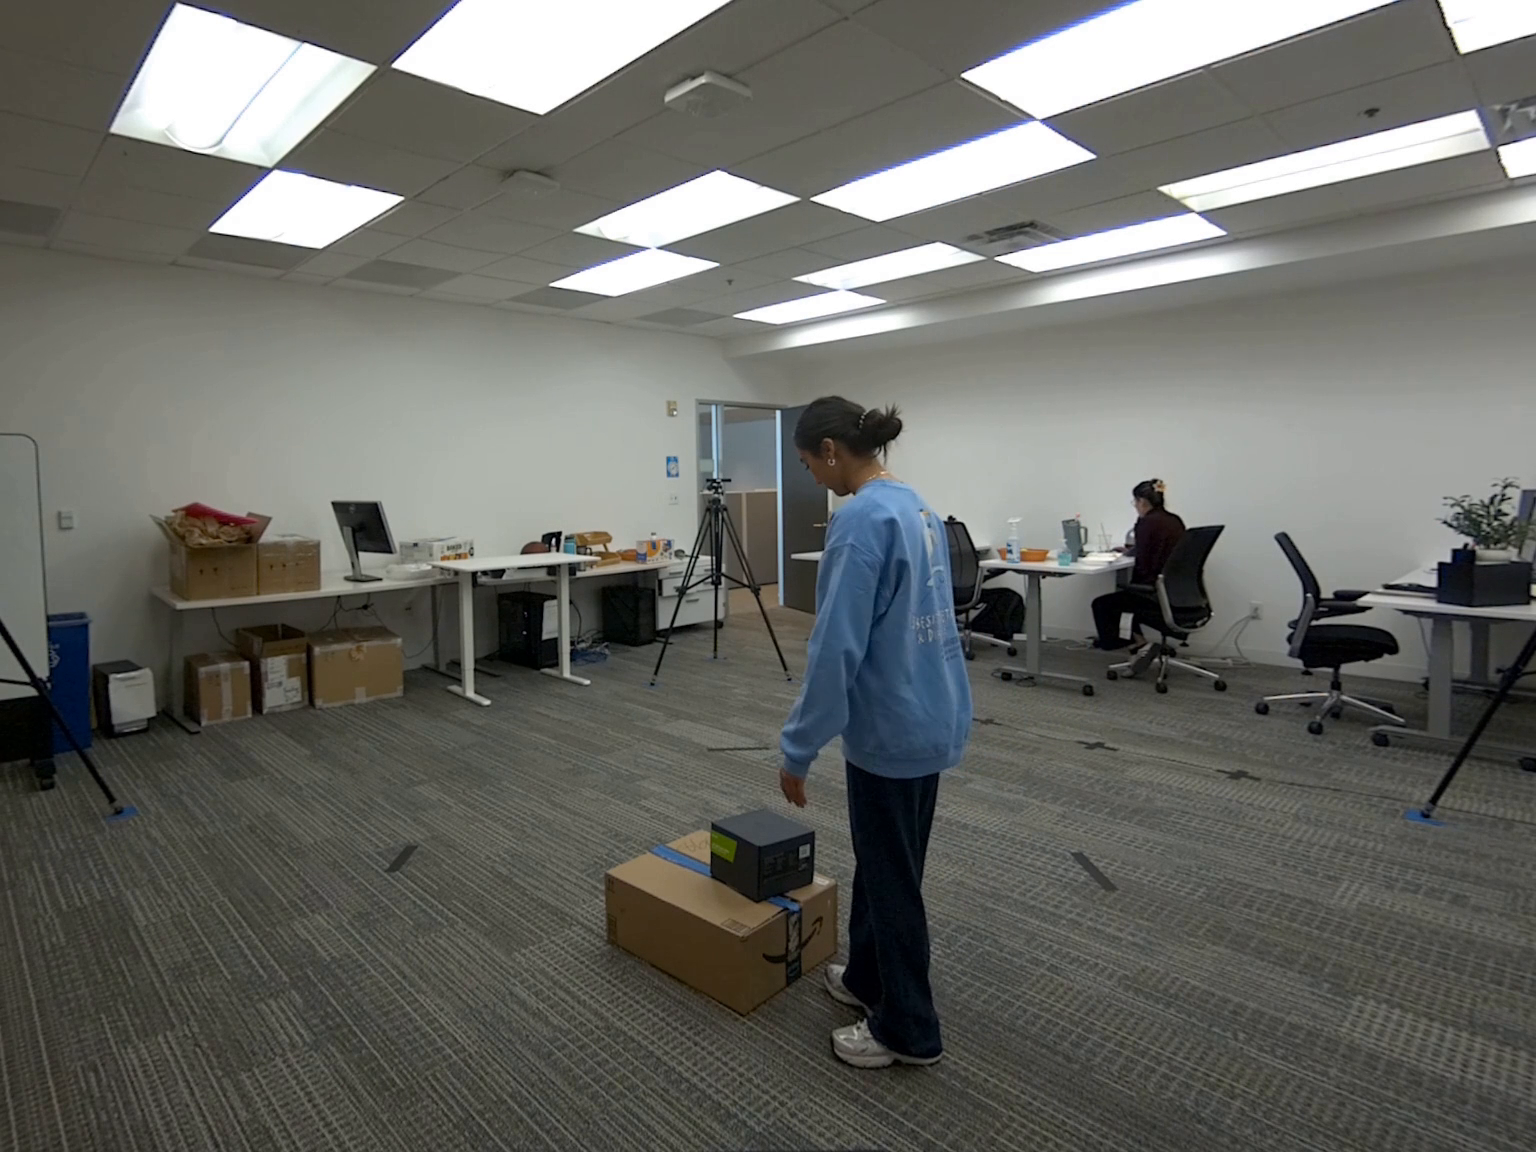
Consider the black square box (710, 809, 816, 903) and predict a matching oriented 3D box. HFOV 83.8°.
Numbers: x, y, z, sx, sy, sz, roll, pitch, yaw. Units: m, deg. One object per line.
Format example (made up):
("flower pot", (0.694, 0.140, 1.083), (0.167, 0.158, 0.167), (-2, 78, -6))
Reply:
("black square box", (-0.014, 0.811, 2.515), (0.211, 0.155, 0.235), (-2, 5, -40))
